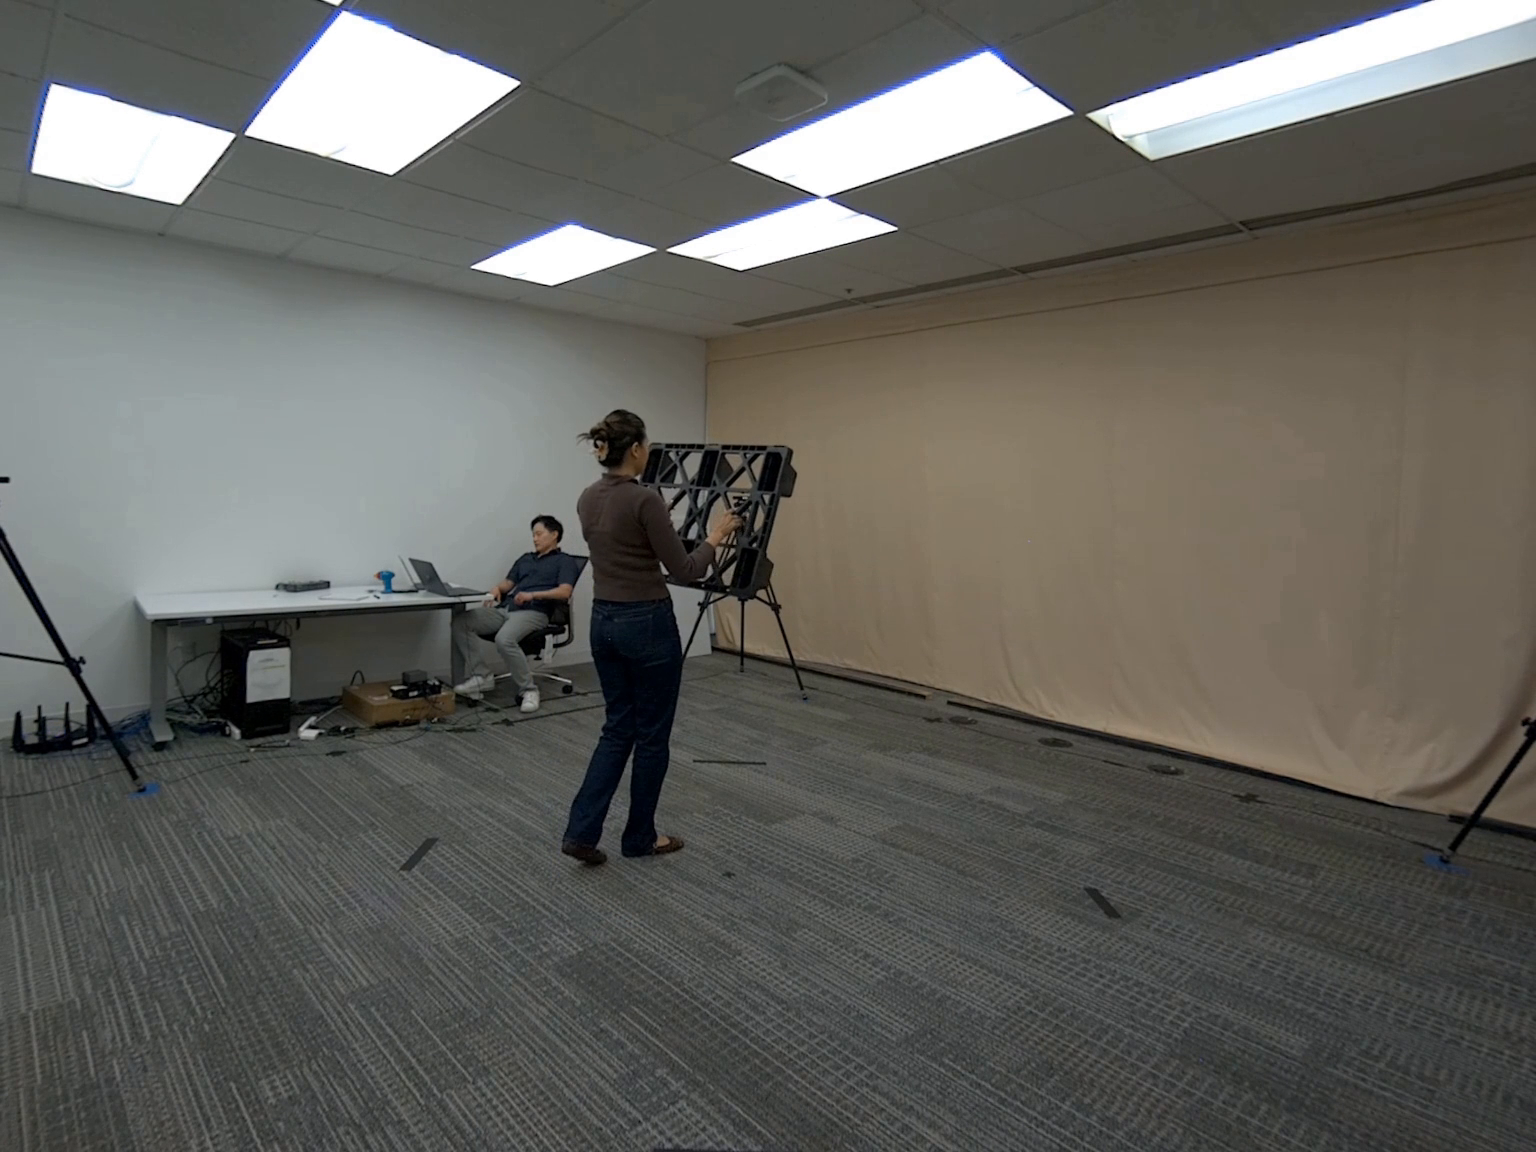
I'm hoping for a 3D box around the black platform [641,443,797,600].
[{"bbox_3d":[-0.265,-0.241,3.445,0.827,0.607,0.139,9,-10,42],"label":"black platform"}]
